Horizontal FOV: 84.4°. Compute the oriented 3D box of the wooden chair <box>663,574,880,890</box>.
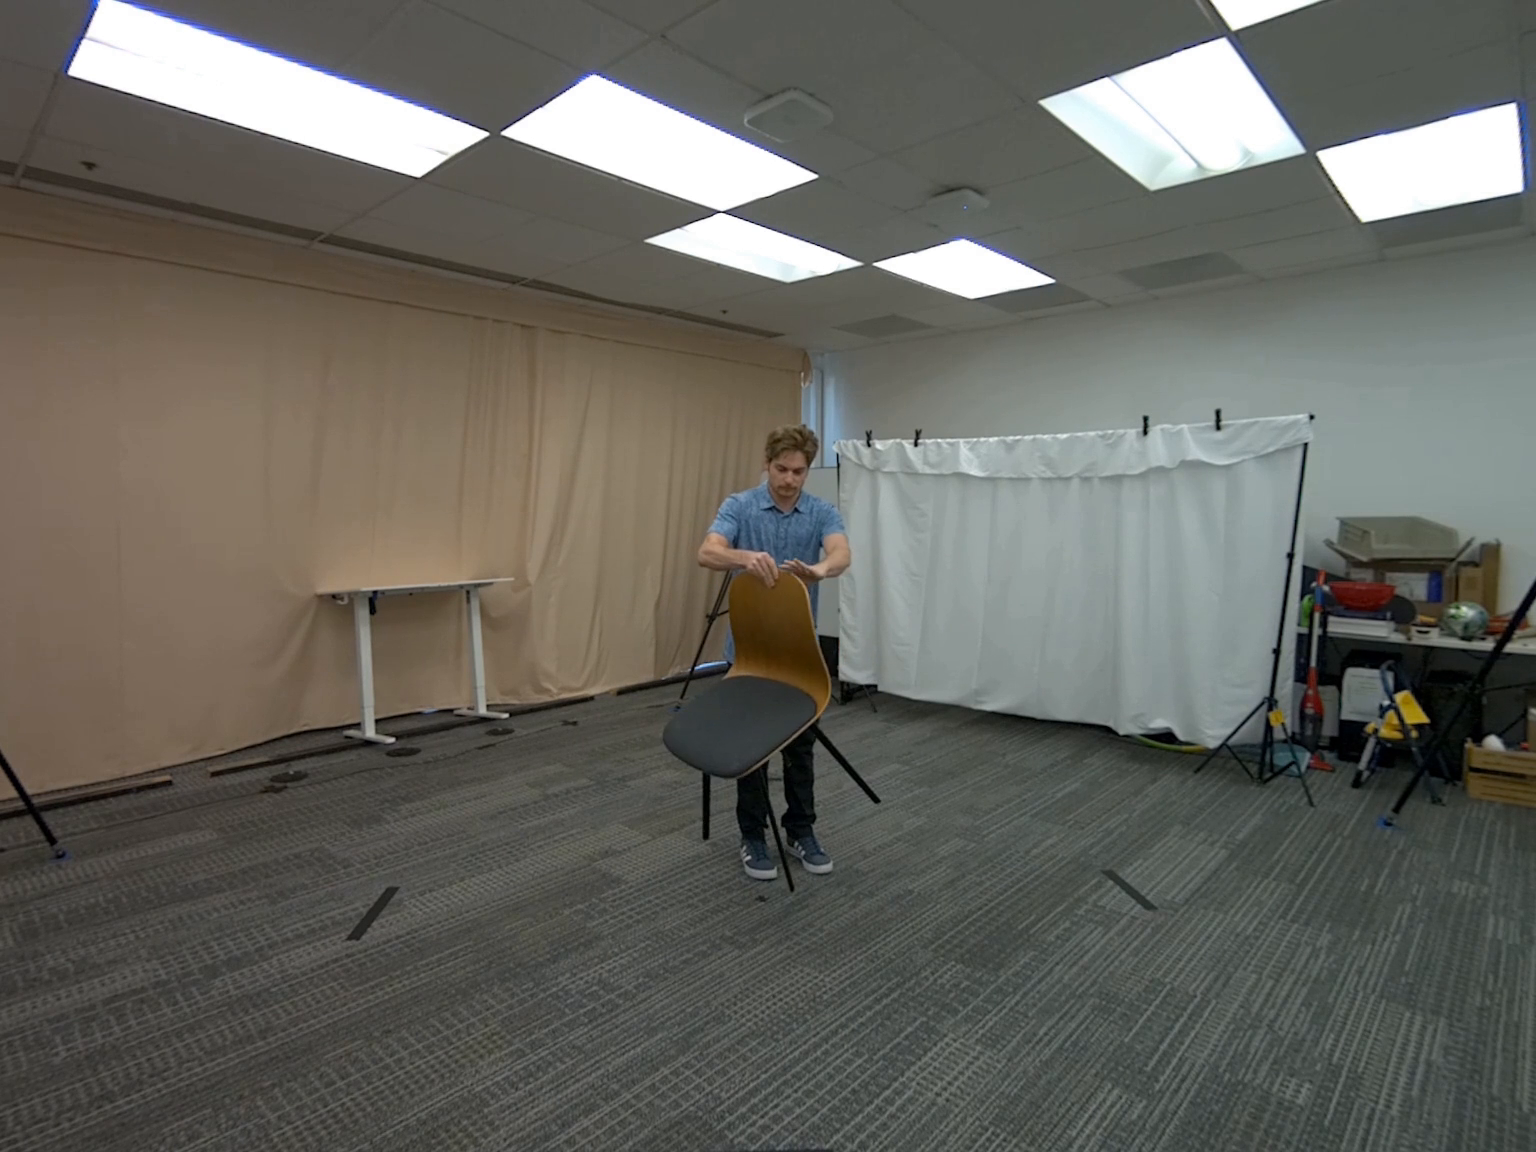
[{"bbox_3d":[-0.040,0.484,2.746,0.514,0.863,0.495,-29,25,-35],"label":"wooden chair"}]
